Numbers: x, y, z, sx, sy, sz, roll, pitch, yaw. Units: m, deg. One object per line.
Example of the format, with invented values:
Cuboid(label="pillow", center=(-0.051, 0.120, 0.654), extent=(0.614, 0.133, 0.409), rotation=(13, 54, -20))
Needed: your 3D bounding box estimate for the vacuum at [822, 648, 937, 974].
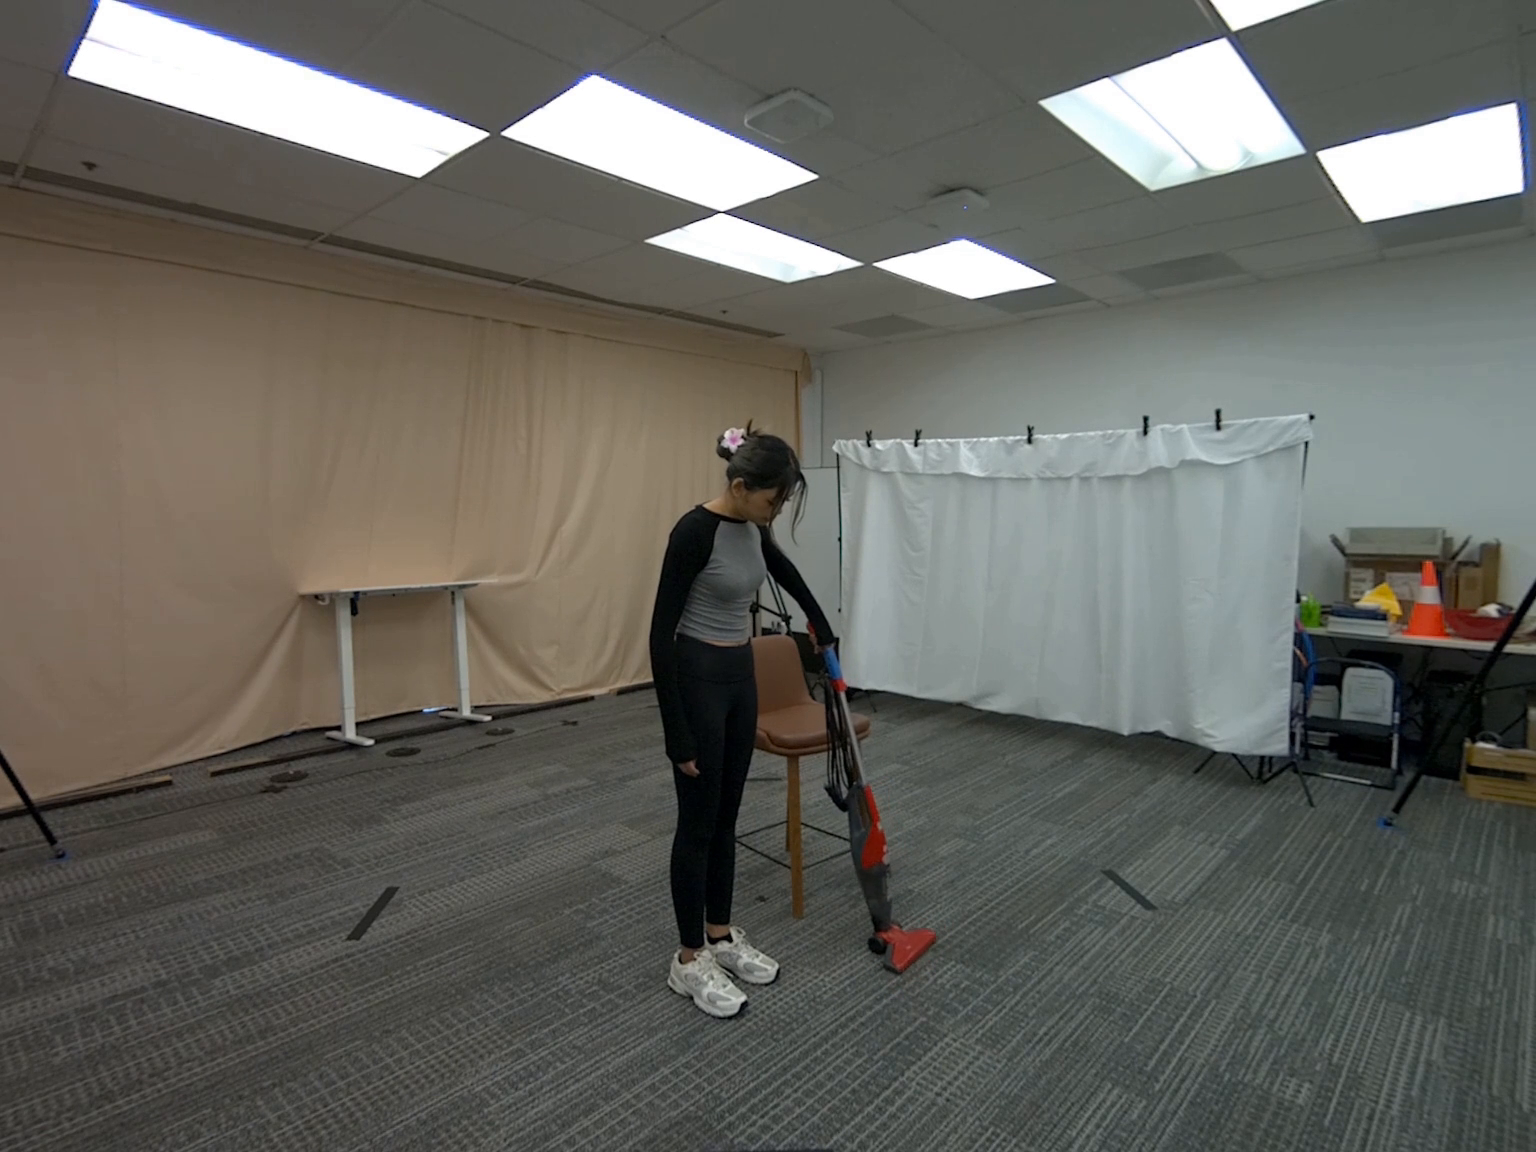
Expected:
Cuboid(label="vacuum", center=(0.282, 0.671, 2.678), extent=(0.147, 1.054, 0.245), rotation=(-20, -7, 39))
